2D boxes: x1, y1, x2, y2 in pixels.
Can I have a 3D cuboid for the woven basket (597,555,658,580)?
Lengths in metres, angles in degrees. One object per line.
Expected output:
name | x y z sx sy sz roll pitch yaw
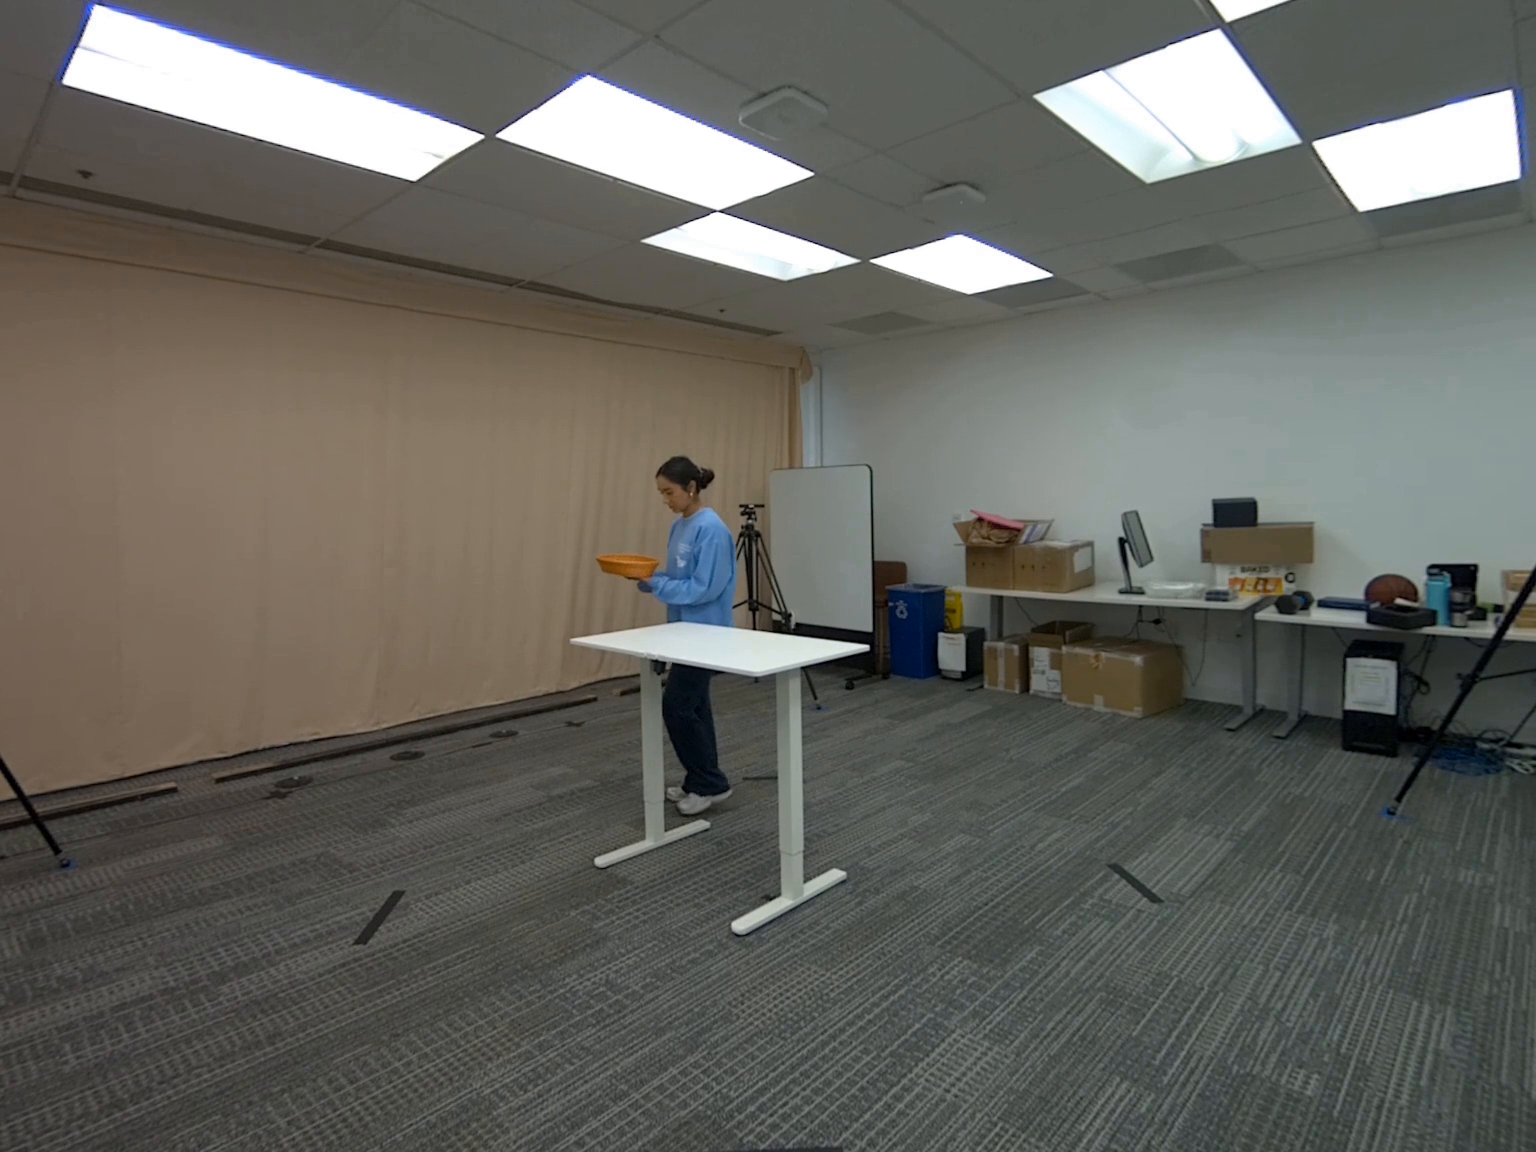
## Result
woven basket | -0.621 -0.039 3.841 0.362 0.073 0.244 8 8 44
